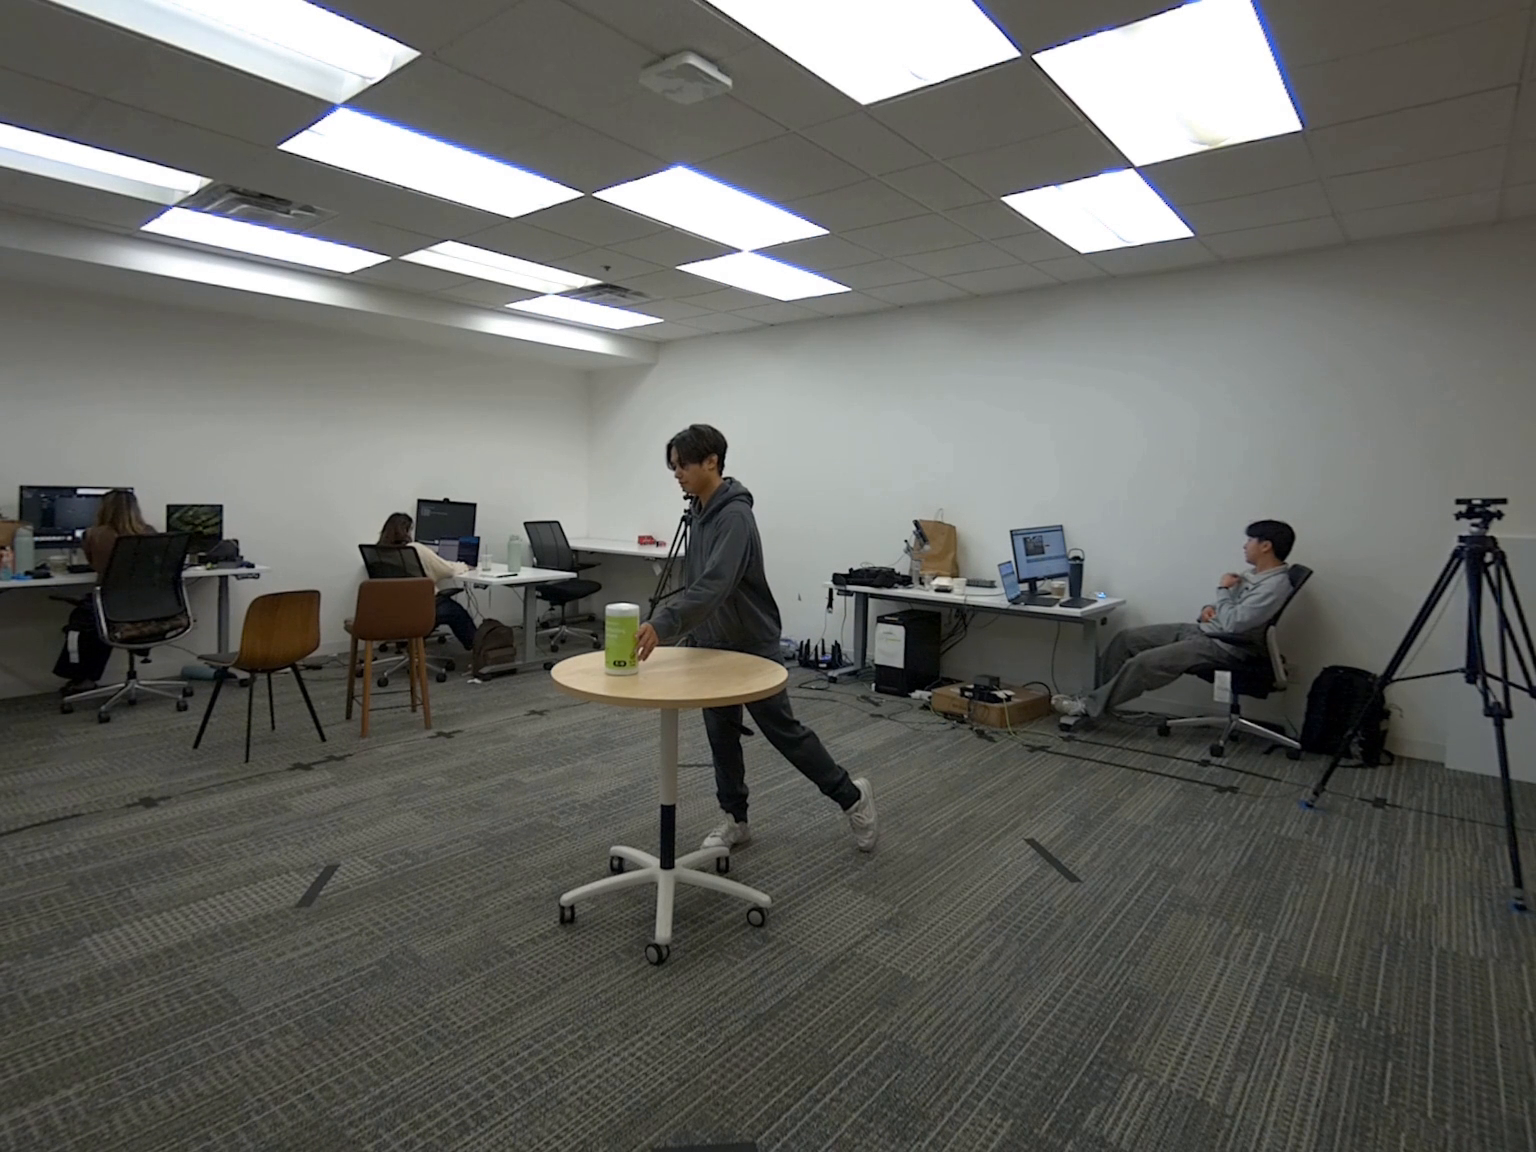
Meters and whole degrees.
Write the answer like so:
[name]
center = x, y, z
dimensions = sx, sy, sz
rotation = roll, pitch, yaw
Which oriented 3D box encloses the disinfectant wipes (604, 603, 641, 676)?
[disinfectant wipes]
center = -0.478, 0.202, 2.712
dimensions = 0.118, 0.216, 0.118
rotation = 0, 5, -2
